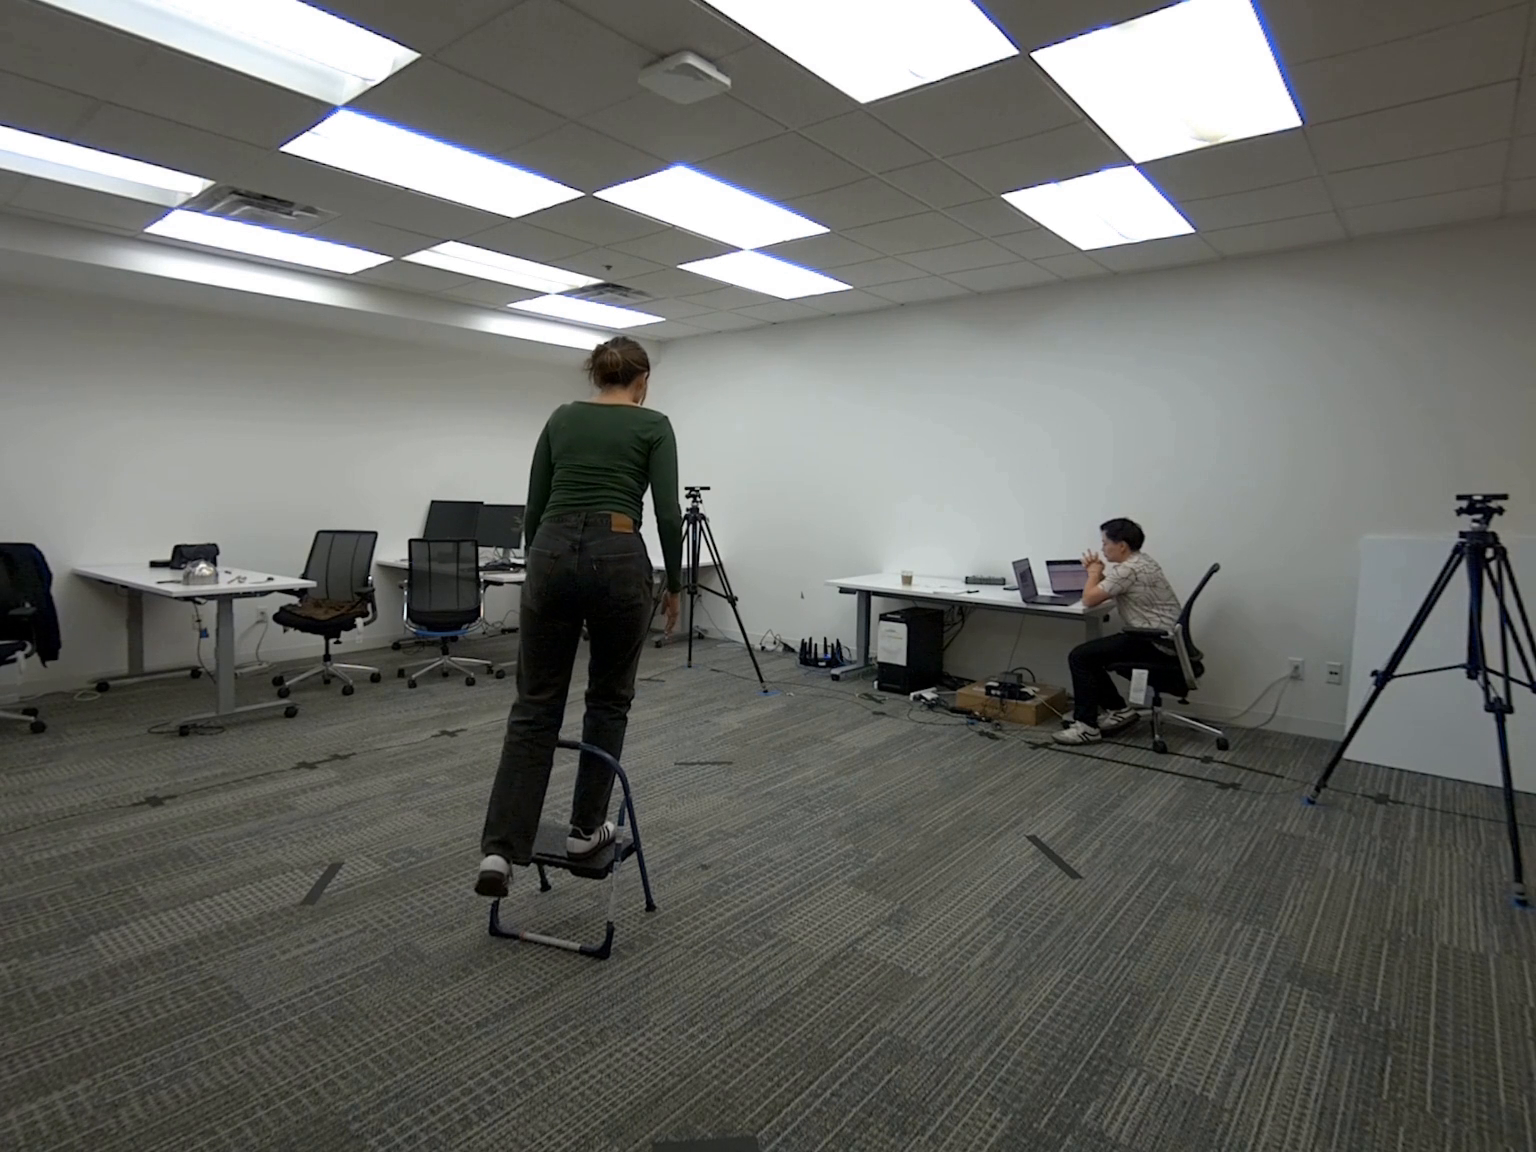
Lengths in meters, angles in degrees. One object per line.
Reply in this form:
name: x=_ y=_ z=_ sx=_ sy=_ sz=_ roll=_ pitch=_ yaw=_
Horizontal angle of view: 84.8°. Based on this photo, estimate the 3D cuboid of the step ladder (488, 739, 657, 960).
step ladder: x=-0.627 y=0.800 z=2.702 sx=0.439 sy=0.604 sz=0.344 roll=2 pitch=4 yaw=18
